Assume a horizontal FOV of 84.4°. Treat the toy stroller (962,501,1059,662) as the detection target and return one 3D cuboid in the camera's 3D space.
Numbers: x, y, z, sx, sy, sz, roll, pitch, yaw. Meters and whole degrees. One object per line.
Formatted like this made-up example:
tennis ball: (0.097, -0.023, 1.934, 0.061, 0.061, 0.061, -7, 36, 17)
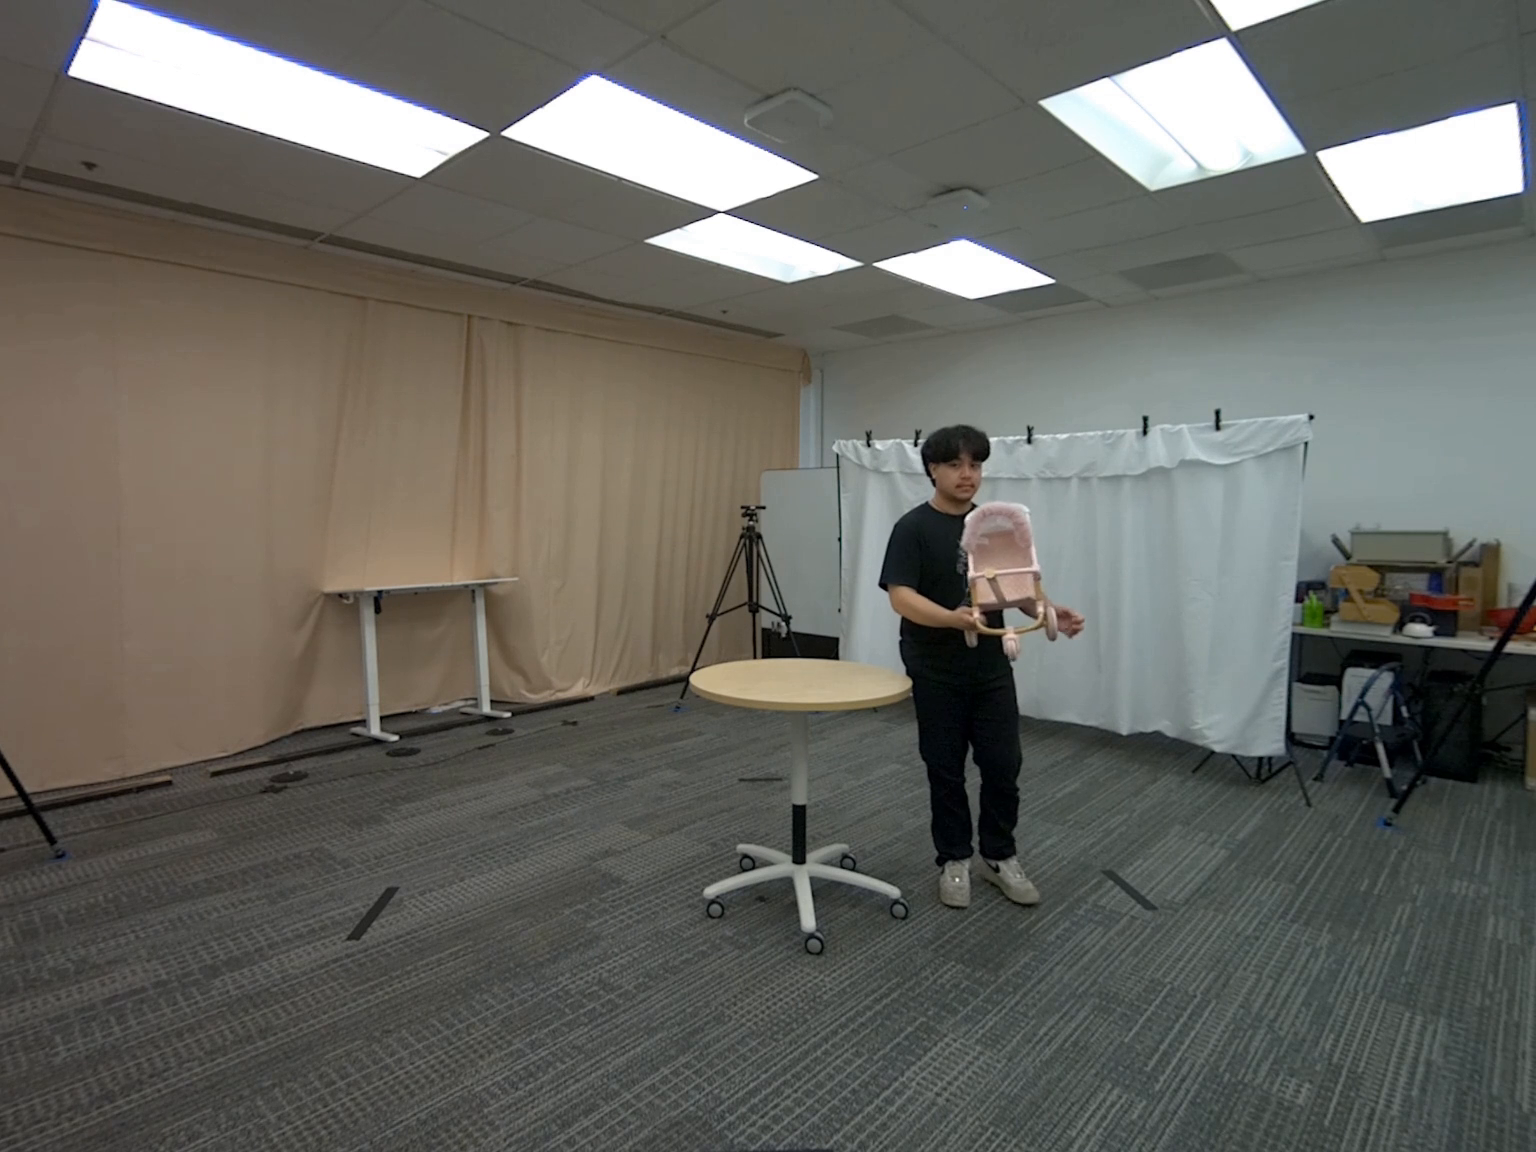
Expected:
toy stroller: (0.738, 0.007, 2.654, 0.287, 0.539, 0.332, -7, -11, 21)
